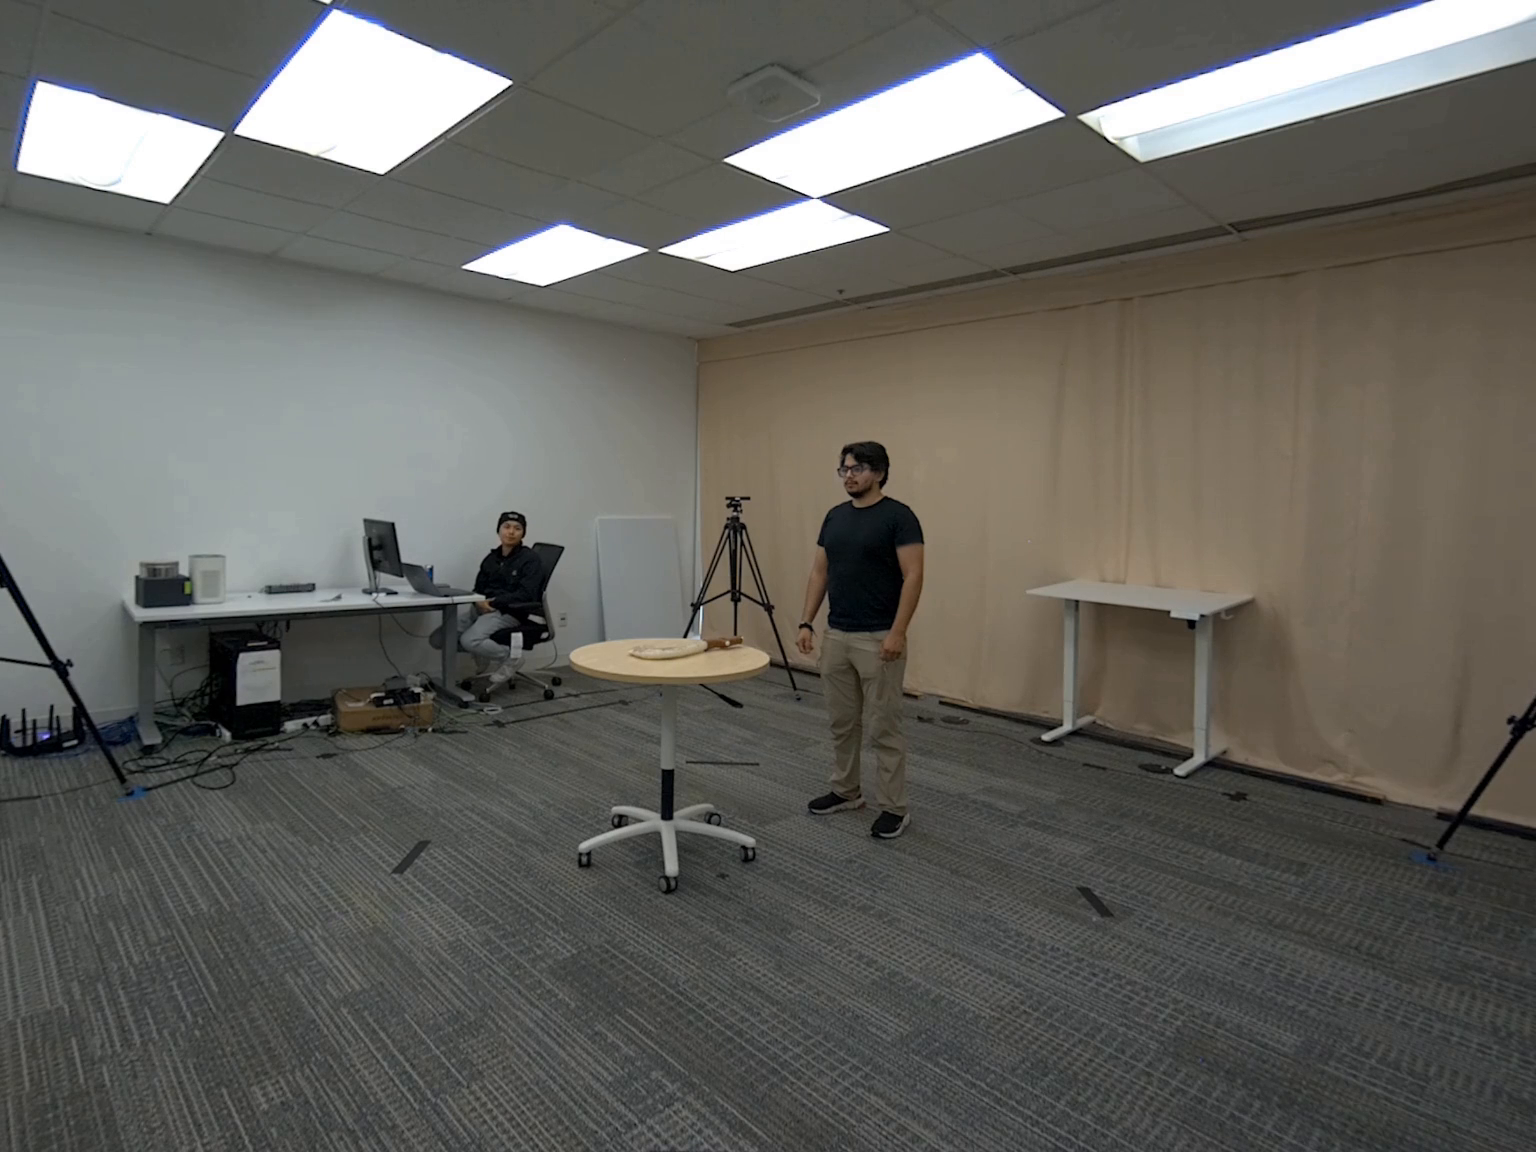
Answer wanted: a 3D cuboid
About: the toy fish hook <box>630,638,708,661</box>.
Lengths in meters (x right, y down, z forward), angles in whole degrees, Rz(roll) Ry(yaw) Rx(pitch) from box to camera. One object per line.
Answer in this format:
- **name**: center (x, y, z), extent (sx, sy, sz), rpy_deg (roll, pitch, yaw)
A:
- **toy fish hook**: center (-0.330, 0.276, 3.341), extent (0.495, 0.048, 0.230), rpy_deg (-4, 9, -43)
